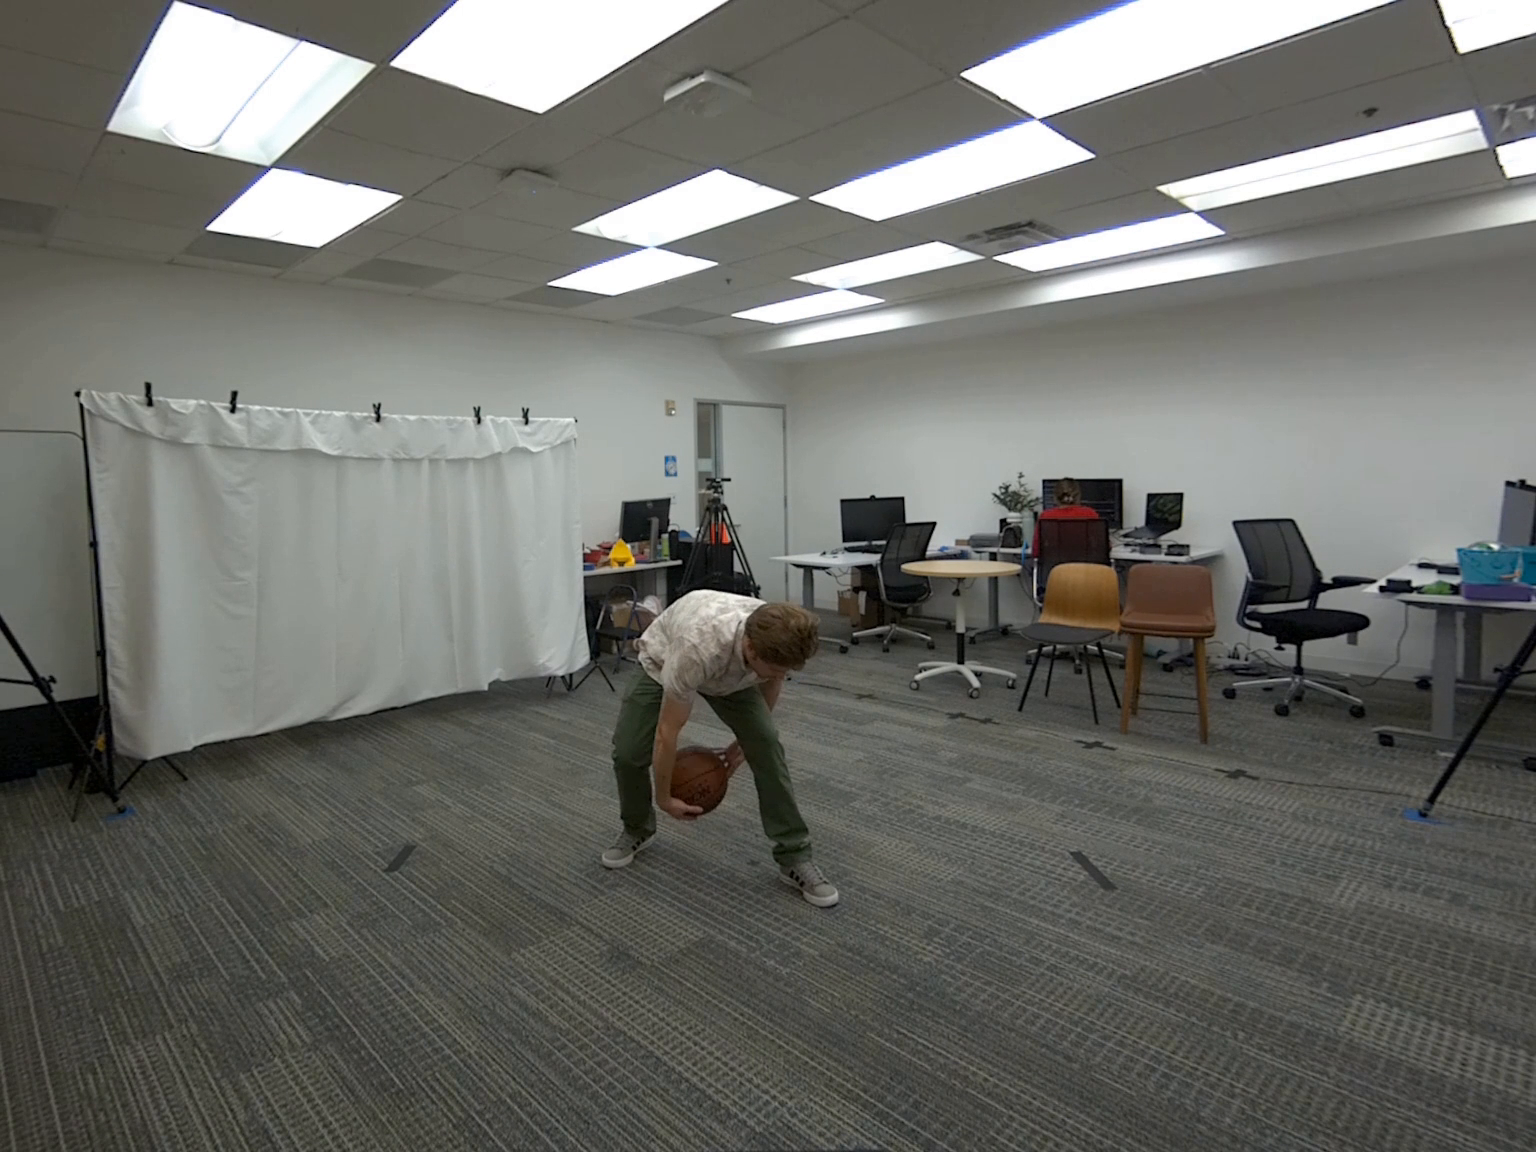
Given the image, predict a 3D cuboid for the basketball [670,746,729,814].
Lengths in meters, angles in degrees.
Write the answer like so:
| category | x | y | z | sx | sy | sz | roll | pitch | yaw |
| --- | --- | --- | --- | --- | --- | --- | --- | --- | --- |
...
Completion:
| category | x | y | z | sx | sy | sz | roll | pitch | yaw |
| --- | --- | --- | --- | --- | --- | --- | --- | --- | --- |
| basketball | -0.253 | 0.719 | 3.012 | 0.236 | 0.235 | 0.237 | -1 | 5 | -2 |
